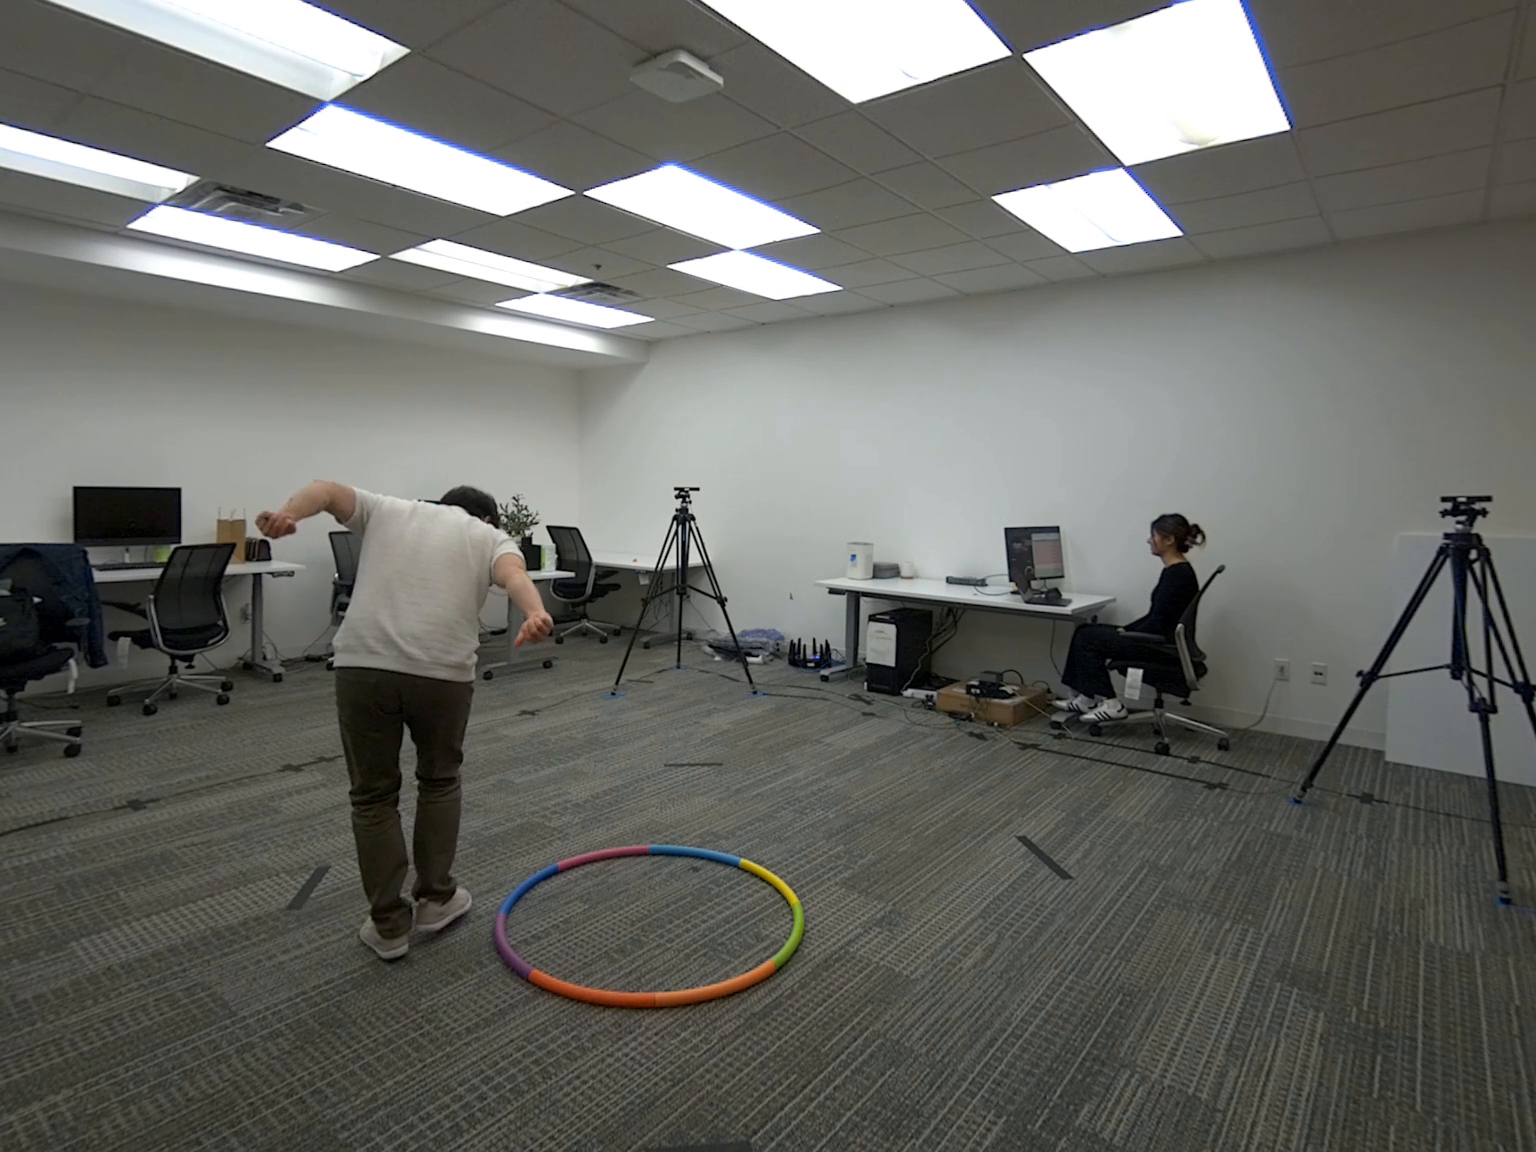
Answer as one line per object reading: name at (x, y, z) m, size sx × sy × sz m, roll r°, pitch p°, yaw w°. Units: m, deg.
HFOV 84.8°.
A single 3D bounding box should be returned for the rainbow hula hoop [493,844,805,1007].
rainbow hula hoop at (-0.386, 1.070, 2.750) m, size 0.978 × 0.035 × 0.983 m, roll 0°, pitch 5°, yaw -2°
